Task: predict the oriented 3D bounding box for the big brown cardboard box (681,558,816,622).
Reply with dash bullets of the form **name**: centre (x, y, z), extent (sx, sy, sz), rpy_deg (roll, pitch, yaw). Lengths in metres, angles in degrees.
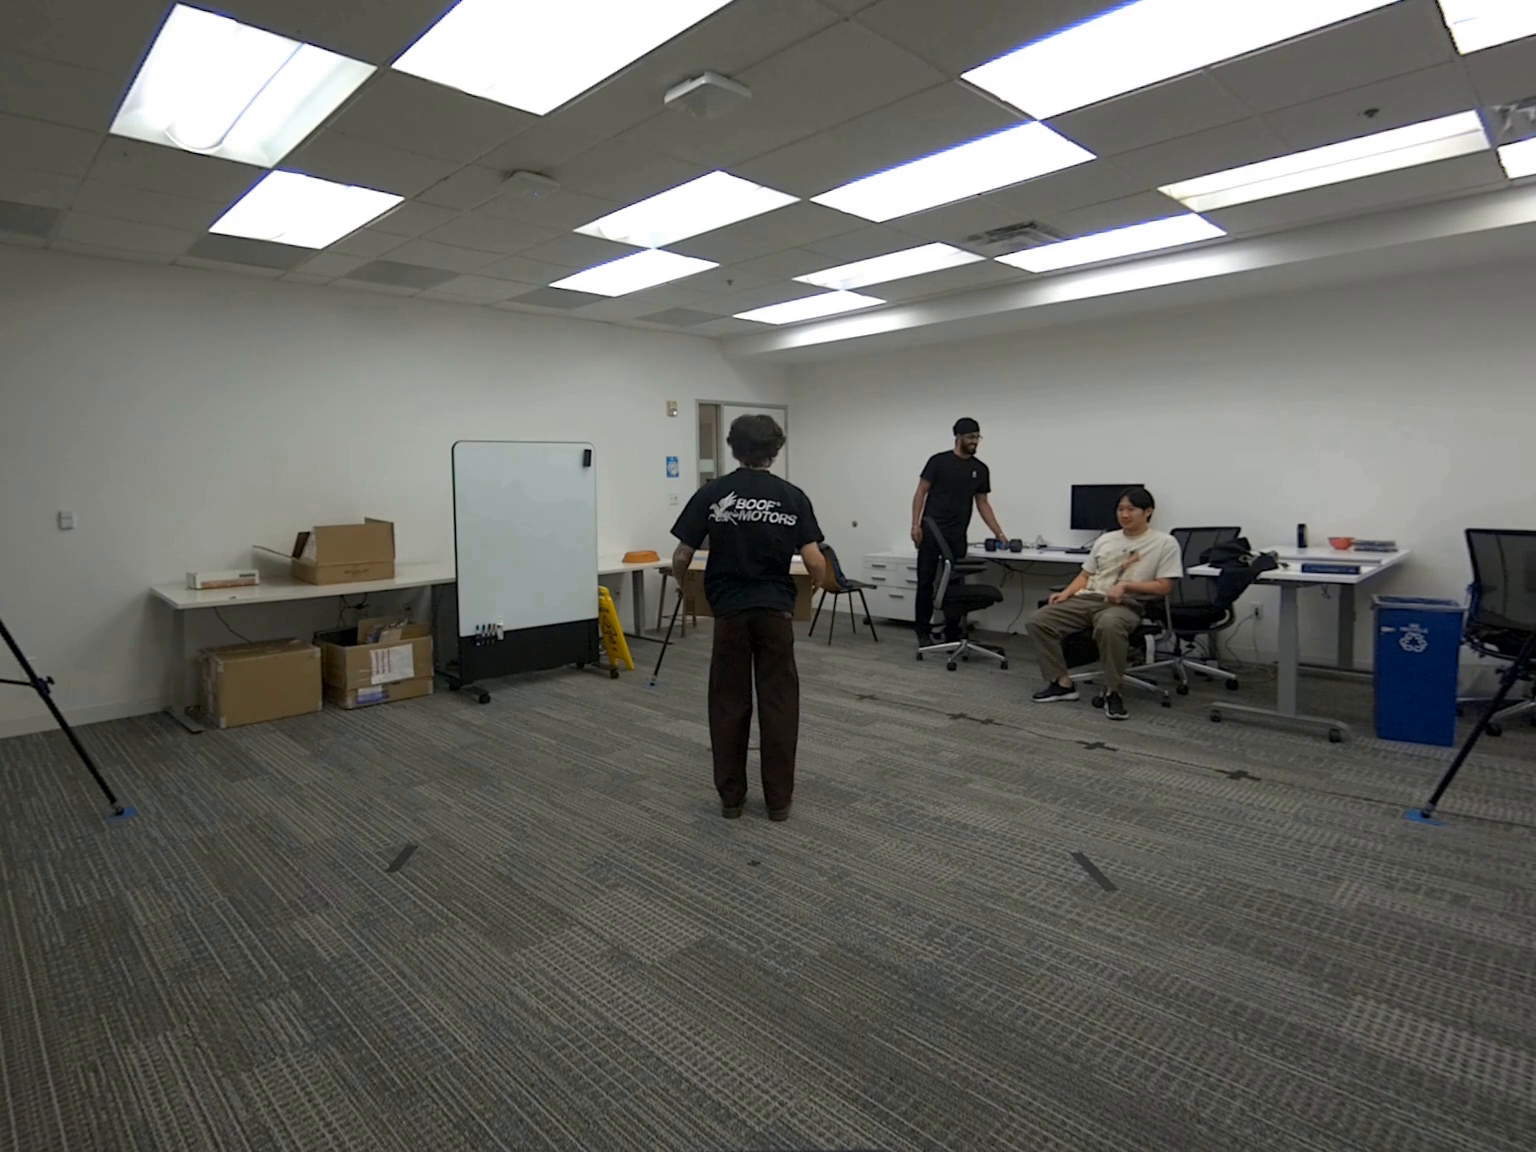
- **big brown cardboard box**: centre (-0.067, 0.033, 3.912), extent (0.591, 0.231, 0.420), rpy_deg (1, 12, 3)
